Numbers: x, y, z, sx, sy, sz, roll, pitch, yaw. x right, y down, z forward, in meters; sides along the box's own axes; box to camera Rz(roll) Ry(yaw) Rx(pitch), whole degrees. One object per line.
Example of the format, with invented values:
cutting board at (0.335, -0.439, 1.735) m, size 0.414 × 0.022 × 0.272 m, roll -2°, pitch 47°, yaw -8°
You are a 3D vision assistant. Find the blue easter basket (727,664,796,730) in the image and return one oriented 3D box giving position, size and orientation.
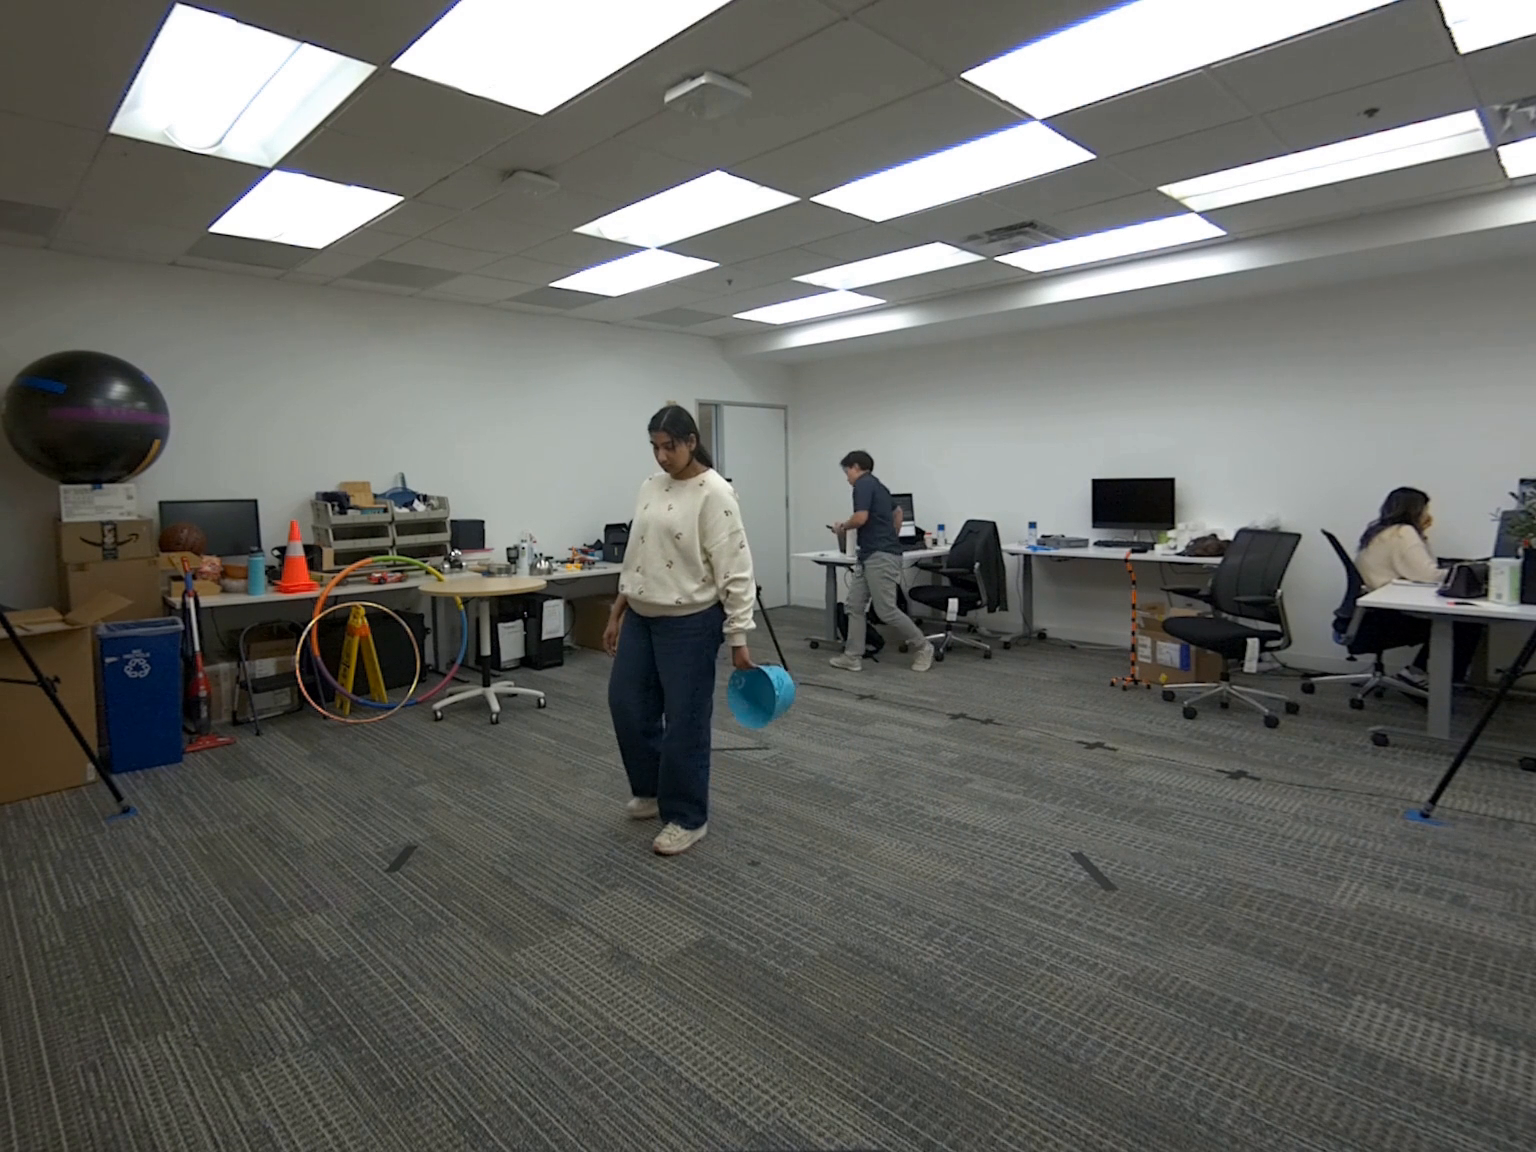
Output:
blue easter basket at (-0.030, 0.425, 3.150) m, size 0.251 × 0.243 × 0.152 m, roll 3°, pitch 3°, yaw 37°
